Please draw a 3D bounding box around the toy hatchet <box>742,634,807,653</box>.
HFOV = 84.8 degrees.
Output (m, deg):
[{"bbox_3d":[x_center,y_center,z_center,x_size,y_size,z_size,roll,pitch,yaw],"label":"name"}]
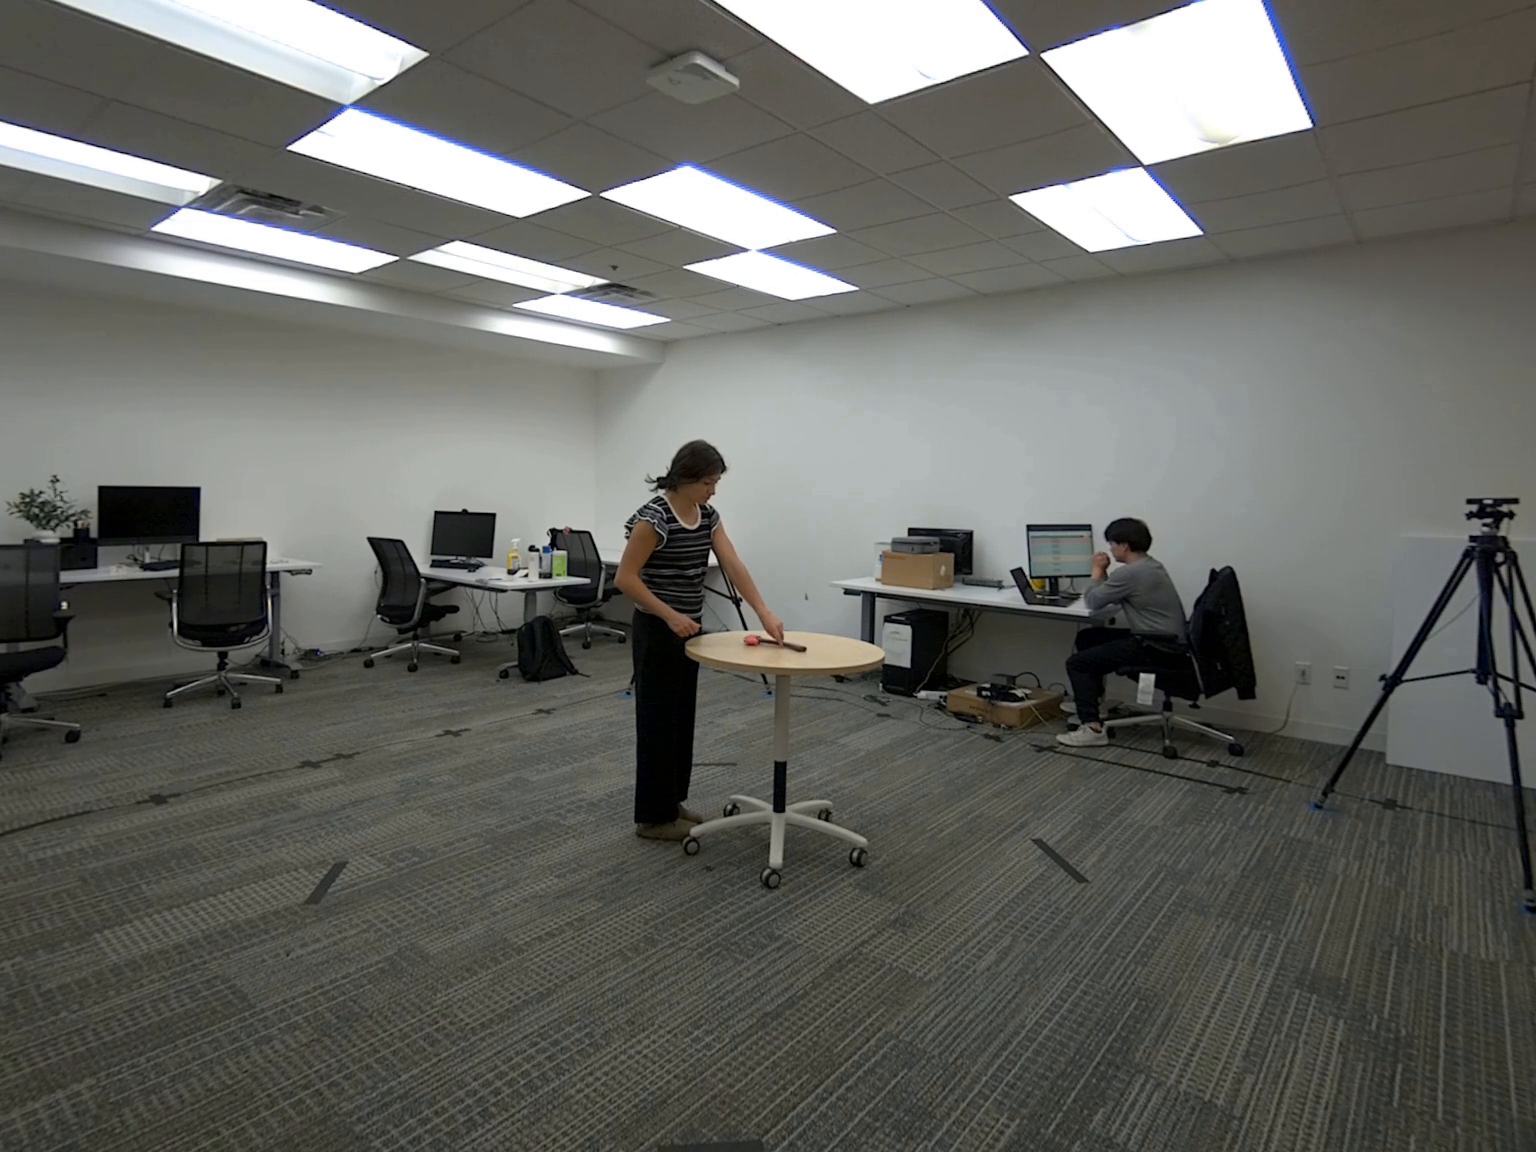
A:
[{"bbox_3d":[0.009,0.259,3.273,0.127,0.029,0.279,0,5,-43],"label":"toy hatchet"}]
